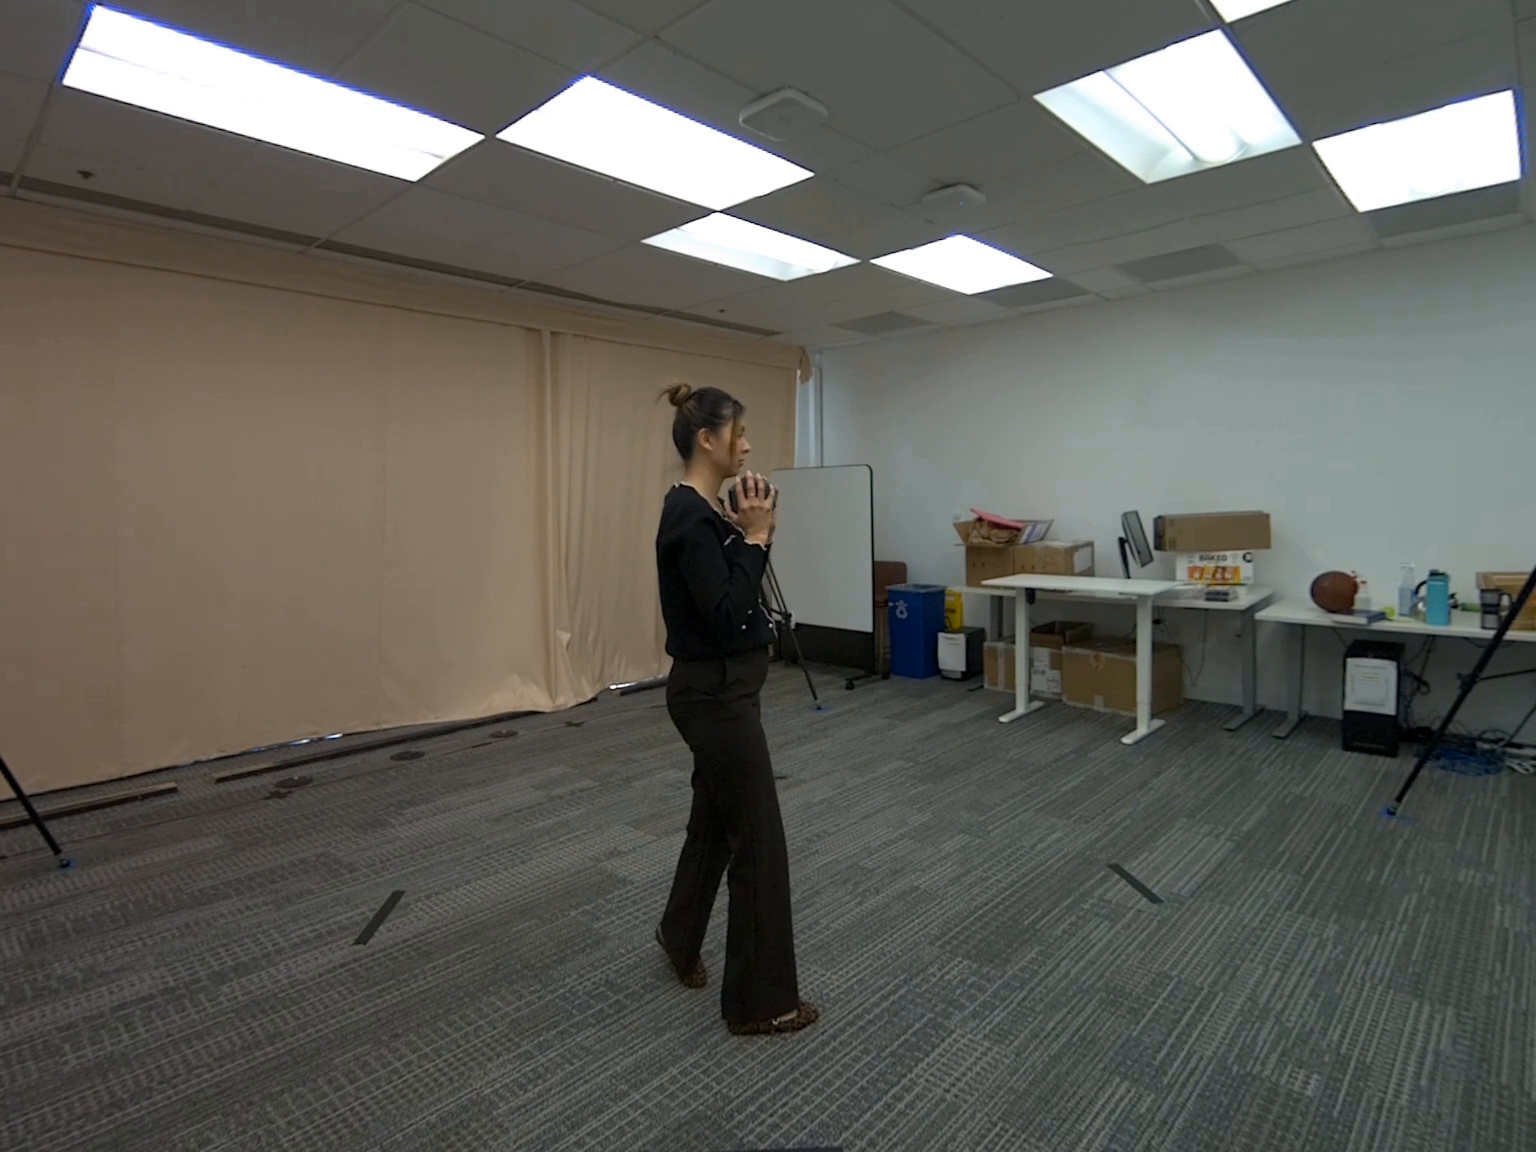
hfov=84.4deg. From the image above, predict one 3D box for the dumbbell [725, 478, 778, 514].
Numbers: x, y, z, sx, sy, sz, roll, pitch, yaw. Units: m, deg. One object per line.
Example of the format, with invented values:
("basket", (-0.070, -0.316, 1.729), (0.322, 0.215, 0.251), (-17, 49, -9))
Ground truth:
("dumbbell", (-0.034, -0.202, 2.252), (0.124, 0.109, 0.290), (-24, -4, 7))
